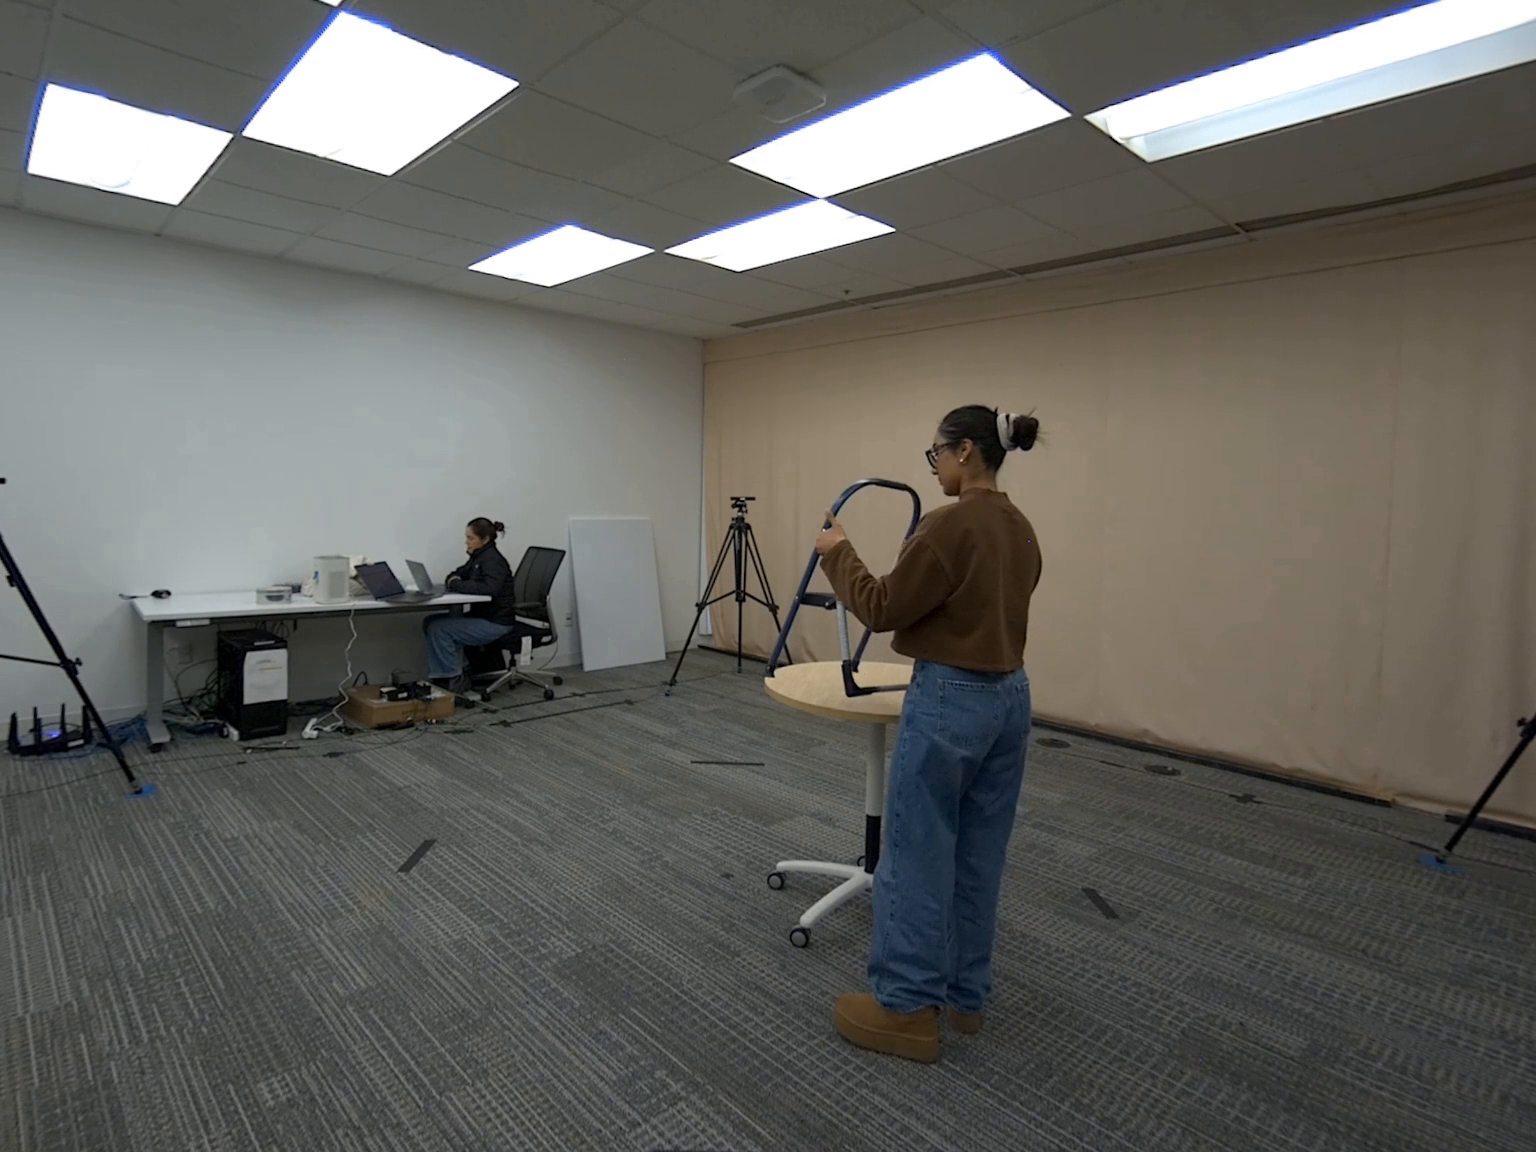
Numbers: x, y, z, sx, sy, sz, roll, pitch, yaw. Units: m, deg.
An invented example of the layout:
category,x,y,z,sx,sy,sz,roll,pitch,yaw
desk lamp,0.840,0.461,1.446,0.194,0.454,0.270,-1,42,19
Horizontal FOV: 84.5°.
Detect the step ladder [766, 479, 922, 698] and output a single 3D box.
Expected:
category,x,y,z,sx,sy,sz,roll,pitch,yaw
step ladder,0.268,0.021,2.504,0.358,0.606,0.420,5,0,44
